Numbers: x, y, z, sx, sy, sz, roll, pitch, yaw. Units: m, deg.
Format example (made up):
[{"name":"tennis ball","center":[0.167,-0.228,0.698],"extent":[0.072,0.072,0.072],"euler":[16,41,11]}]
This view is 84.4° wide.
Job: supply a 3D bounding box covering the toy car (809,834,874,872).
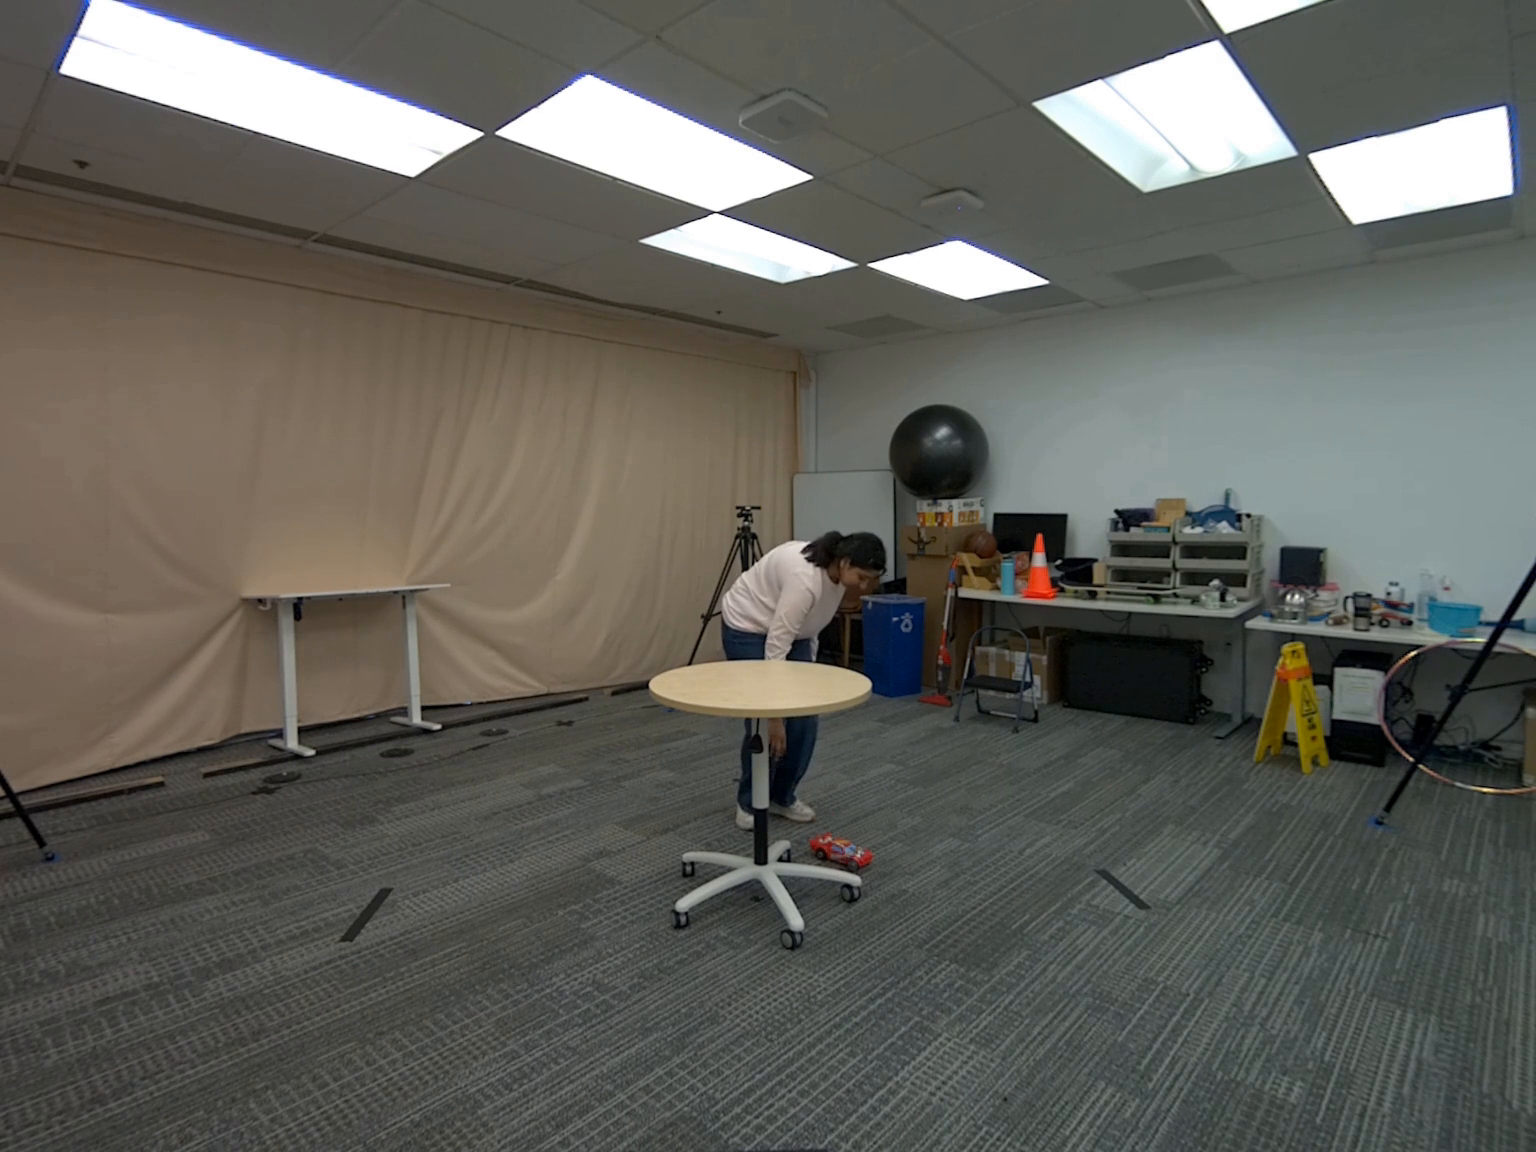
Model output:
[{"name":"toy car","center":[0.287,1.085,3.308],"extent":[0.263,0.083,0.126],"euler":[16,14,38]}]
